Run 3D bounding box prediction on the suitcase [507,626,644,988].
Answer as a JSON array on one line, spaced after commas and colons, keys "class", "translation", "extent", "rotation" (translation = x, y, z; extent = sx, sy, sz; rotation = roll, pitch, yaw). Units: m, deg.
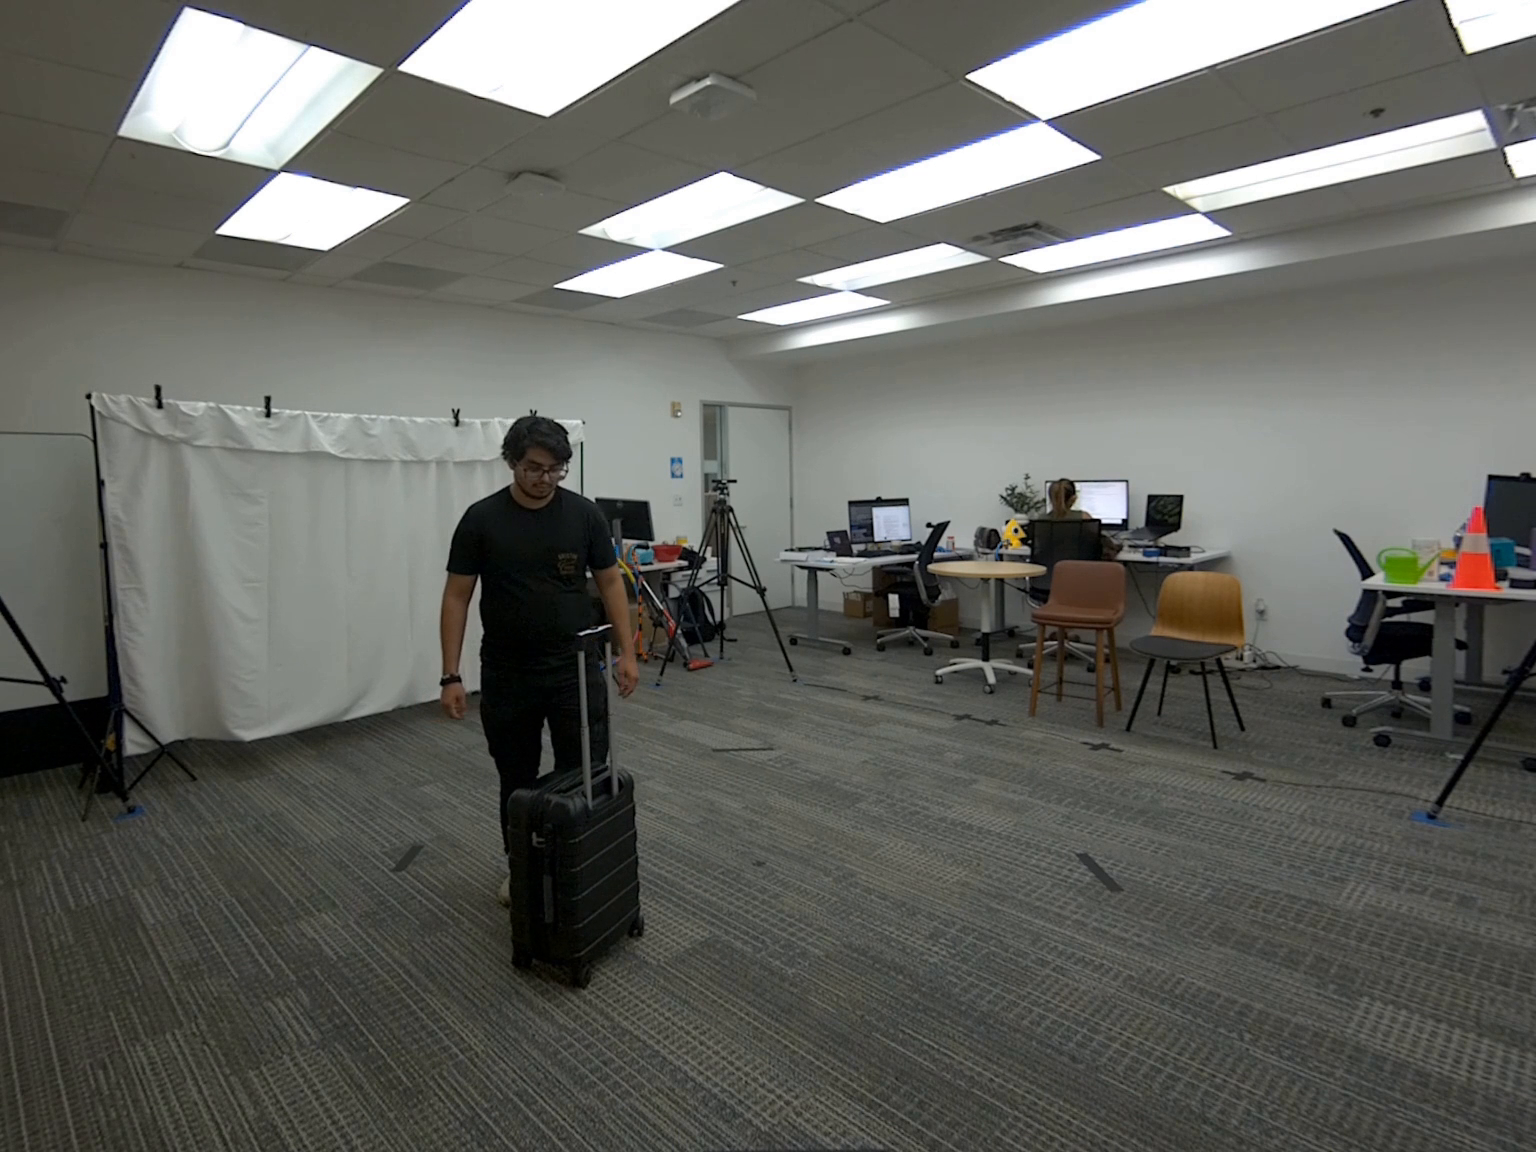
[{"class": "suitcase", "translation": [-0.573, 0.648, 2.507], "extent": [0.263, 0.975, 0.377], "rotation": [-1, 4, 25]}]
